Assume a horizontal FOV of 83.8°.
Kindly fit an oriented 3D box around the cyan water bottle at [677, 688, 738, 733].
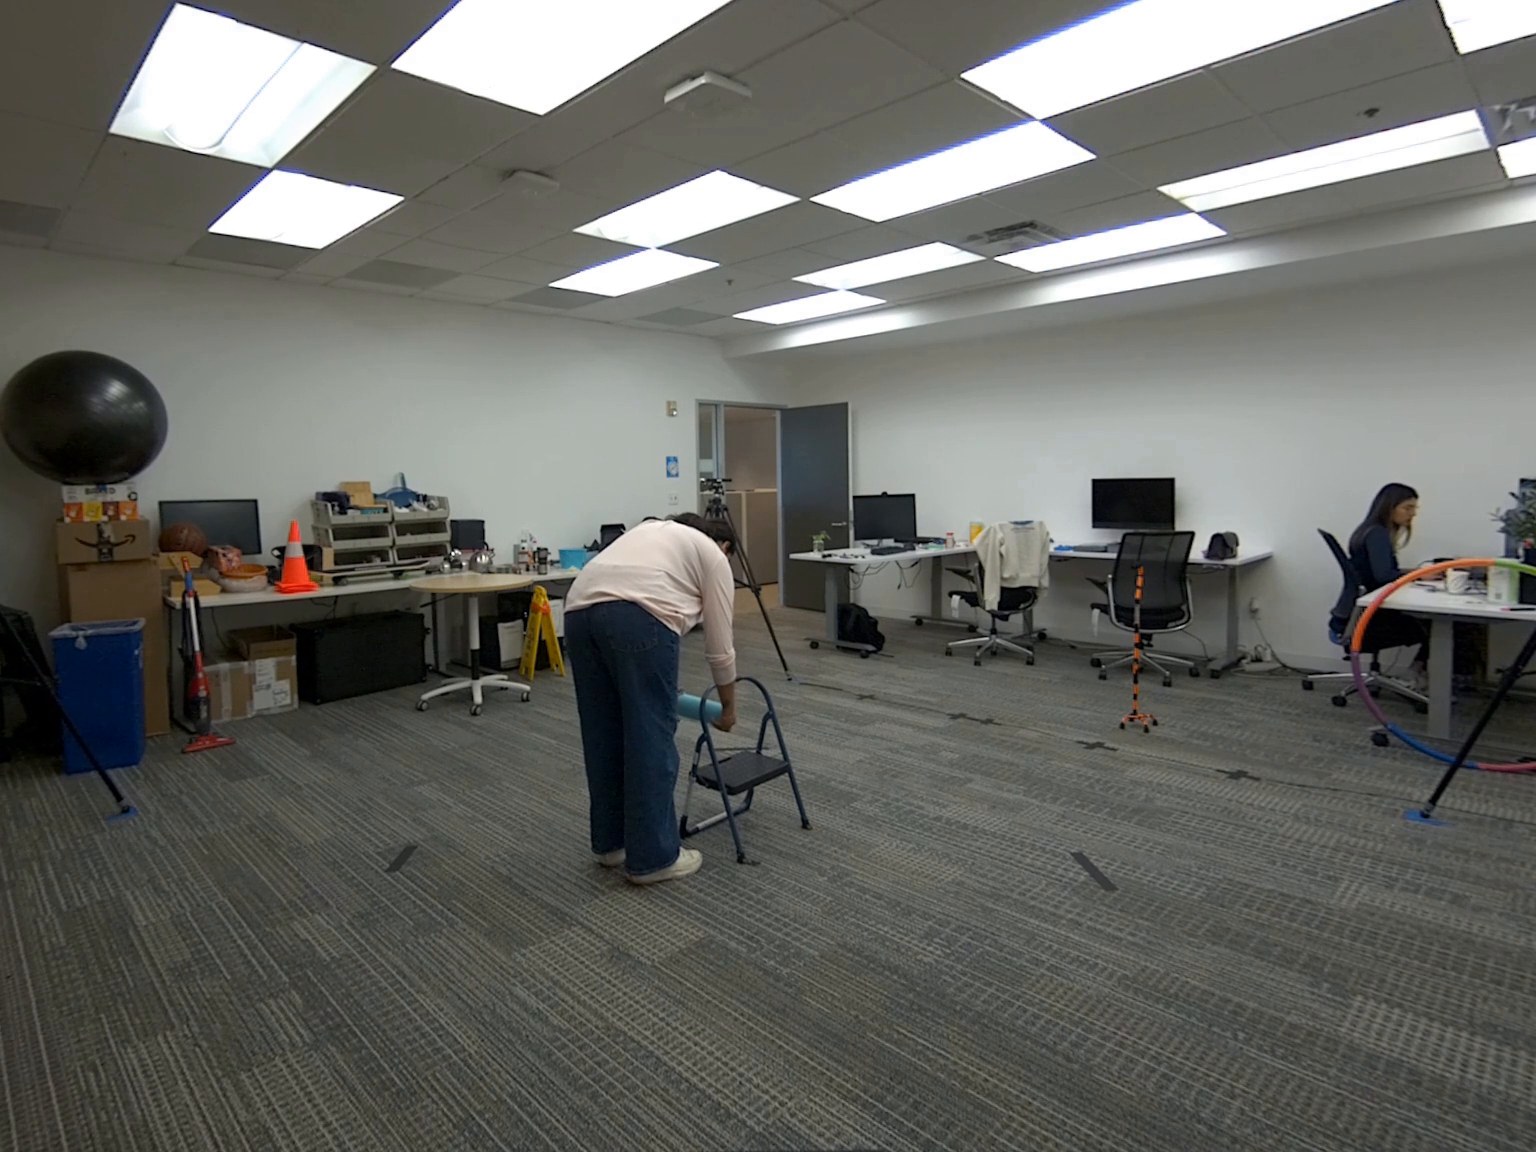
[{"bbox_3d":[-0.269,0.530,3.405,0.292,0.092,0.090,9,9,31],"label":"cyan water bottle"}]
